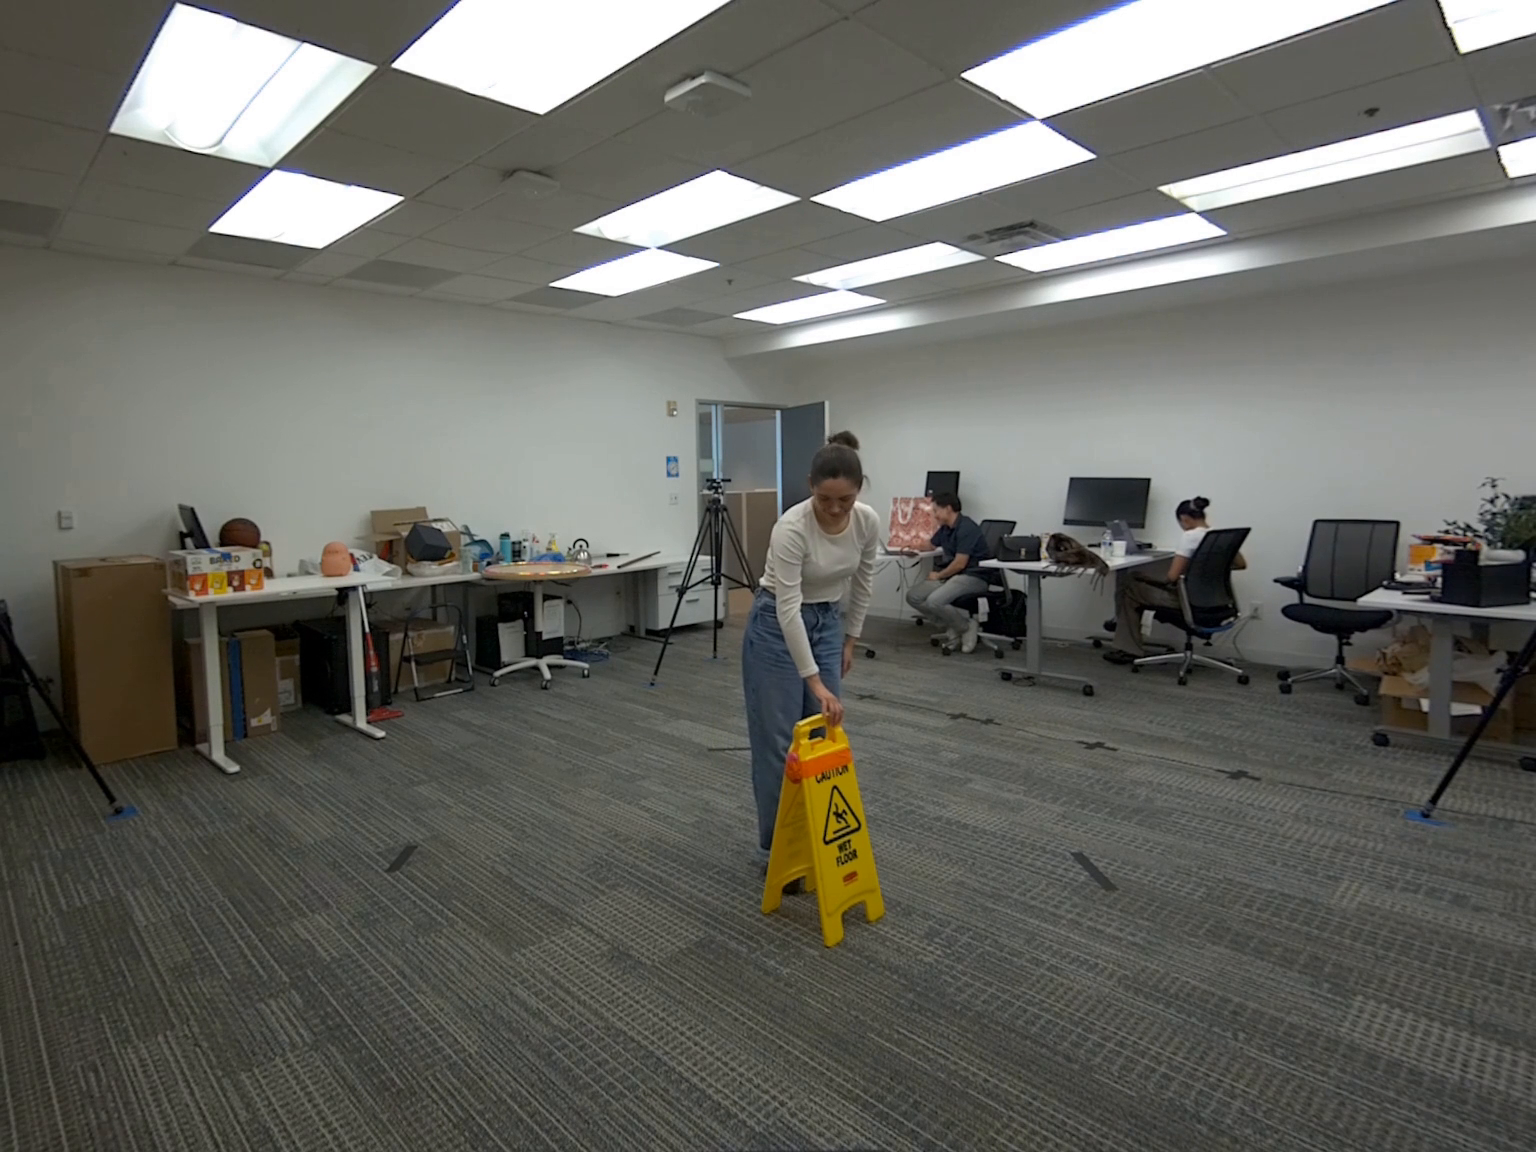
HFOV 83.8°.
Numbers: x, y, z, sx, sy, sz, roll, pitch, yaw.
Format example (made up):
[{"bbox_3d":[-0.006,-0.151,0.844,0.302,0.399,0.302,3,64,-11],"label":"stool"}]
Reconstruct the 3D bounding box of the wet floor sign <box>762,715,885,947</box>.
[{"bbox_3d":[0.160,0.764,2.712,0.275,0.644,0.298,-5,5,-43],"label":"wet floor sign"}]
